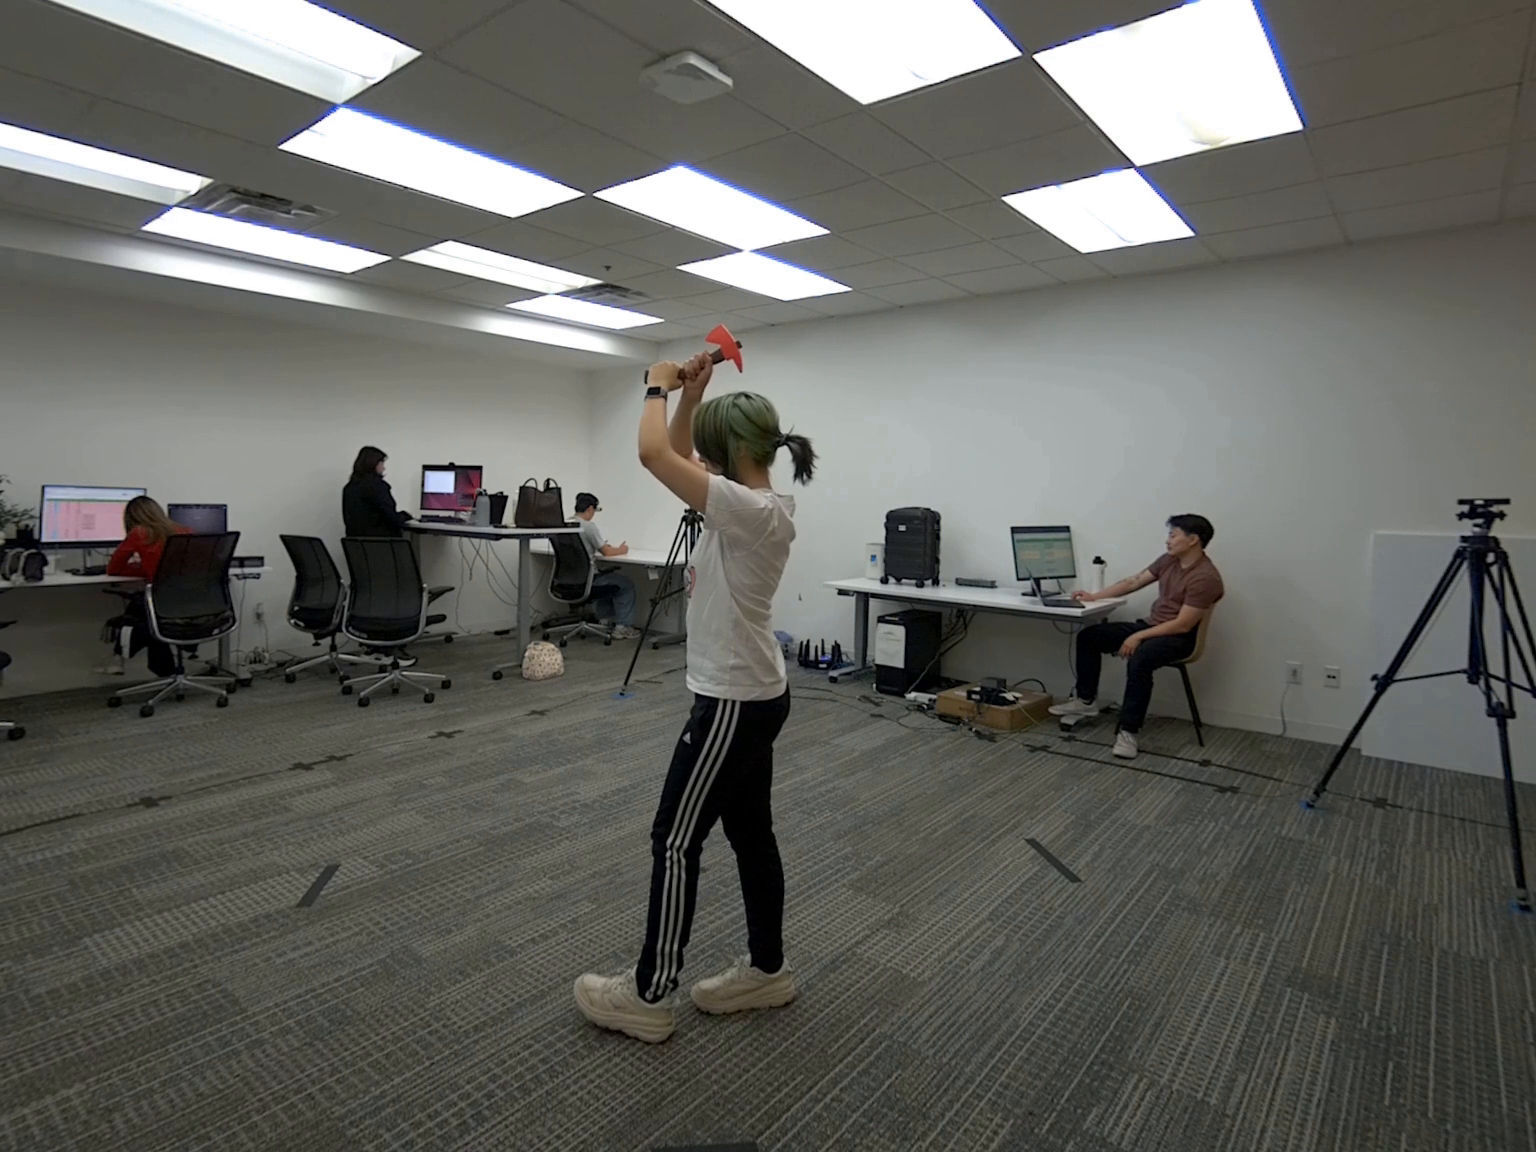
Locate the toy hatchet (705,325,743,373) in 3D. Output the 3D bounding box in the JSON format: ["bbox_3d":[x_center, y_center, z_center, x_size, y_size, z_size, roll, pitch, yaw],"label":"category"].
[{"bbox_3d":[-0.211,-0.581,2.214,0.272,0.130,0.029,-6,5,10],"label":"toy hatchet"}]
